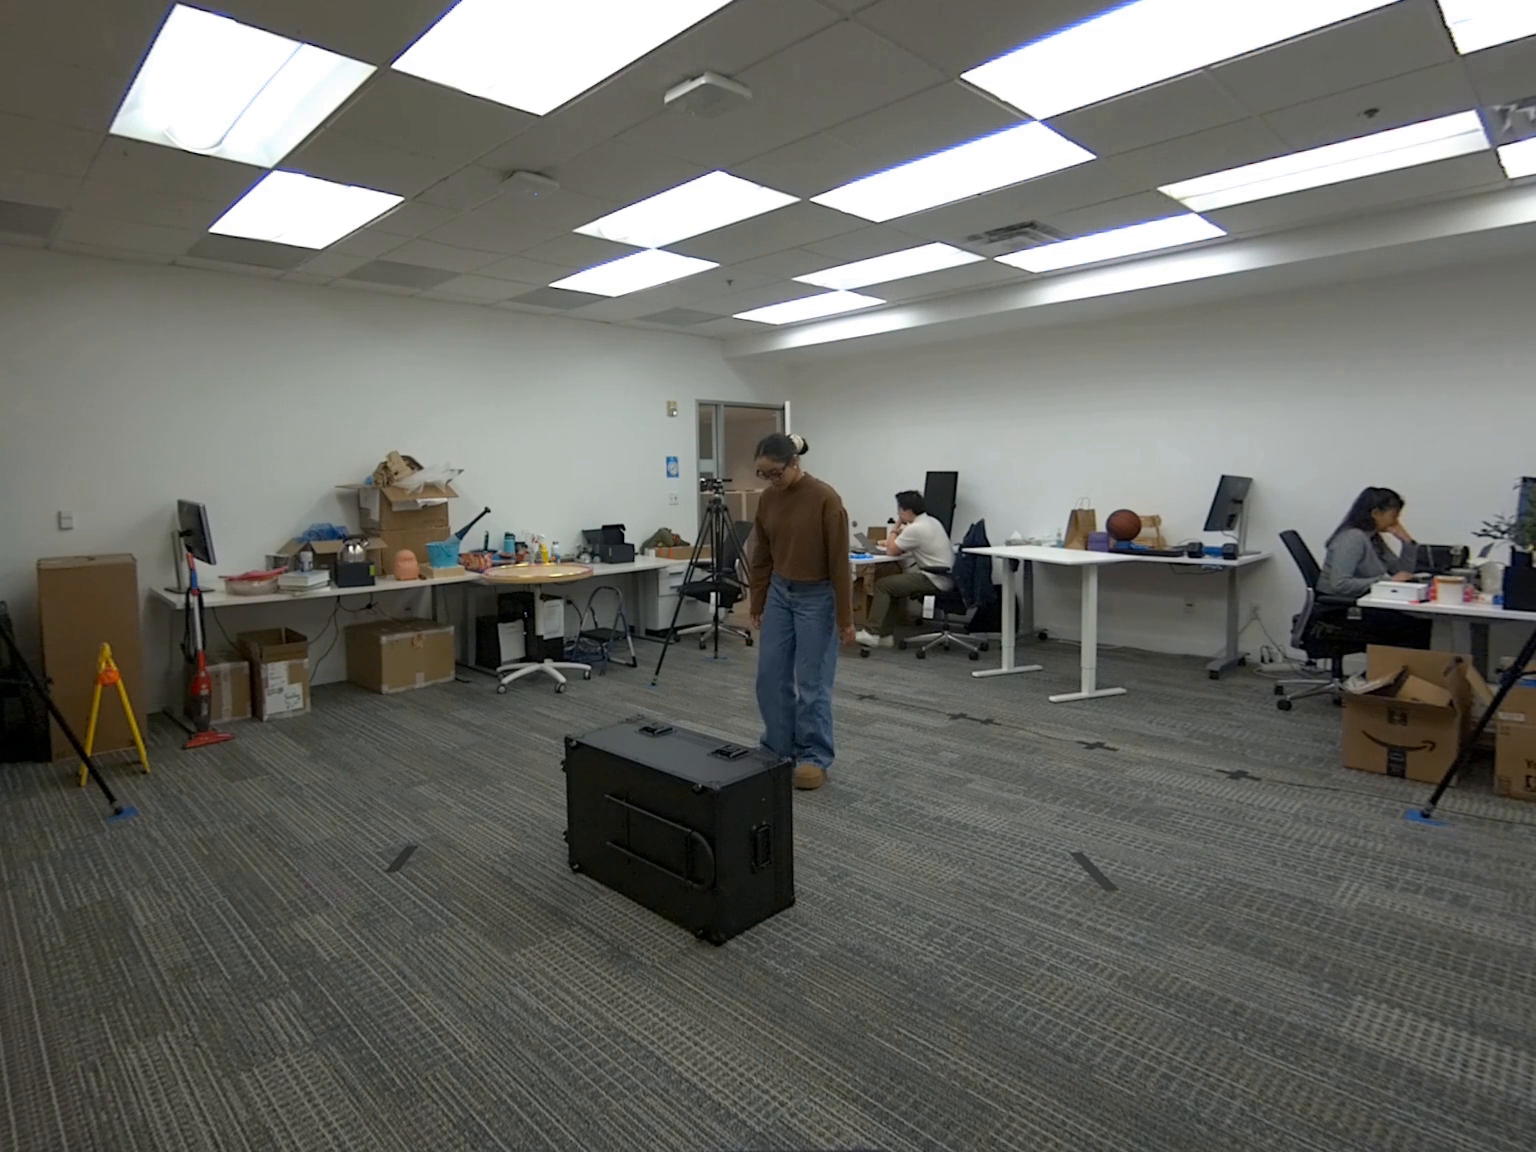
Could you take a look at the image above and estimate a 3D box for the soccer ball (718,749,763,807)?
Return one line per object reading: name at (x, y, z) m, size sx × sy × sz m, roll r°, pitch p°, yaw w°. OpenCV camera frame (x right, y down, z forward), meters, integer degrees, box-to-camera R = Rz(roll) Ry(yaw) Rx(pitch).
soccer ball at (-0.126, 0.881, 3.754) m, size 0.187 × 0.187 × 0.188 m, roll -1°, pitch 5°, yaw -2°
